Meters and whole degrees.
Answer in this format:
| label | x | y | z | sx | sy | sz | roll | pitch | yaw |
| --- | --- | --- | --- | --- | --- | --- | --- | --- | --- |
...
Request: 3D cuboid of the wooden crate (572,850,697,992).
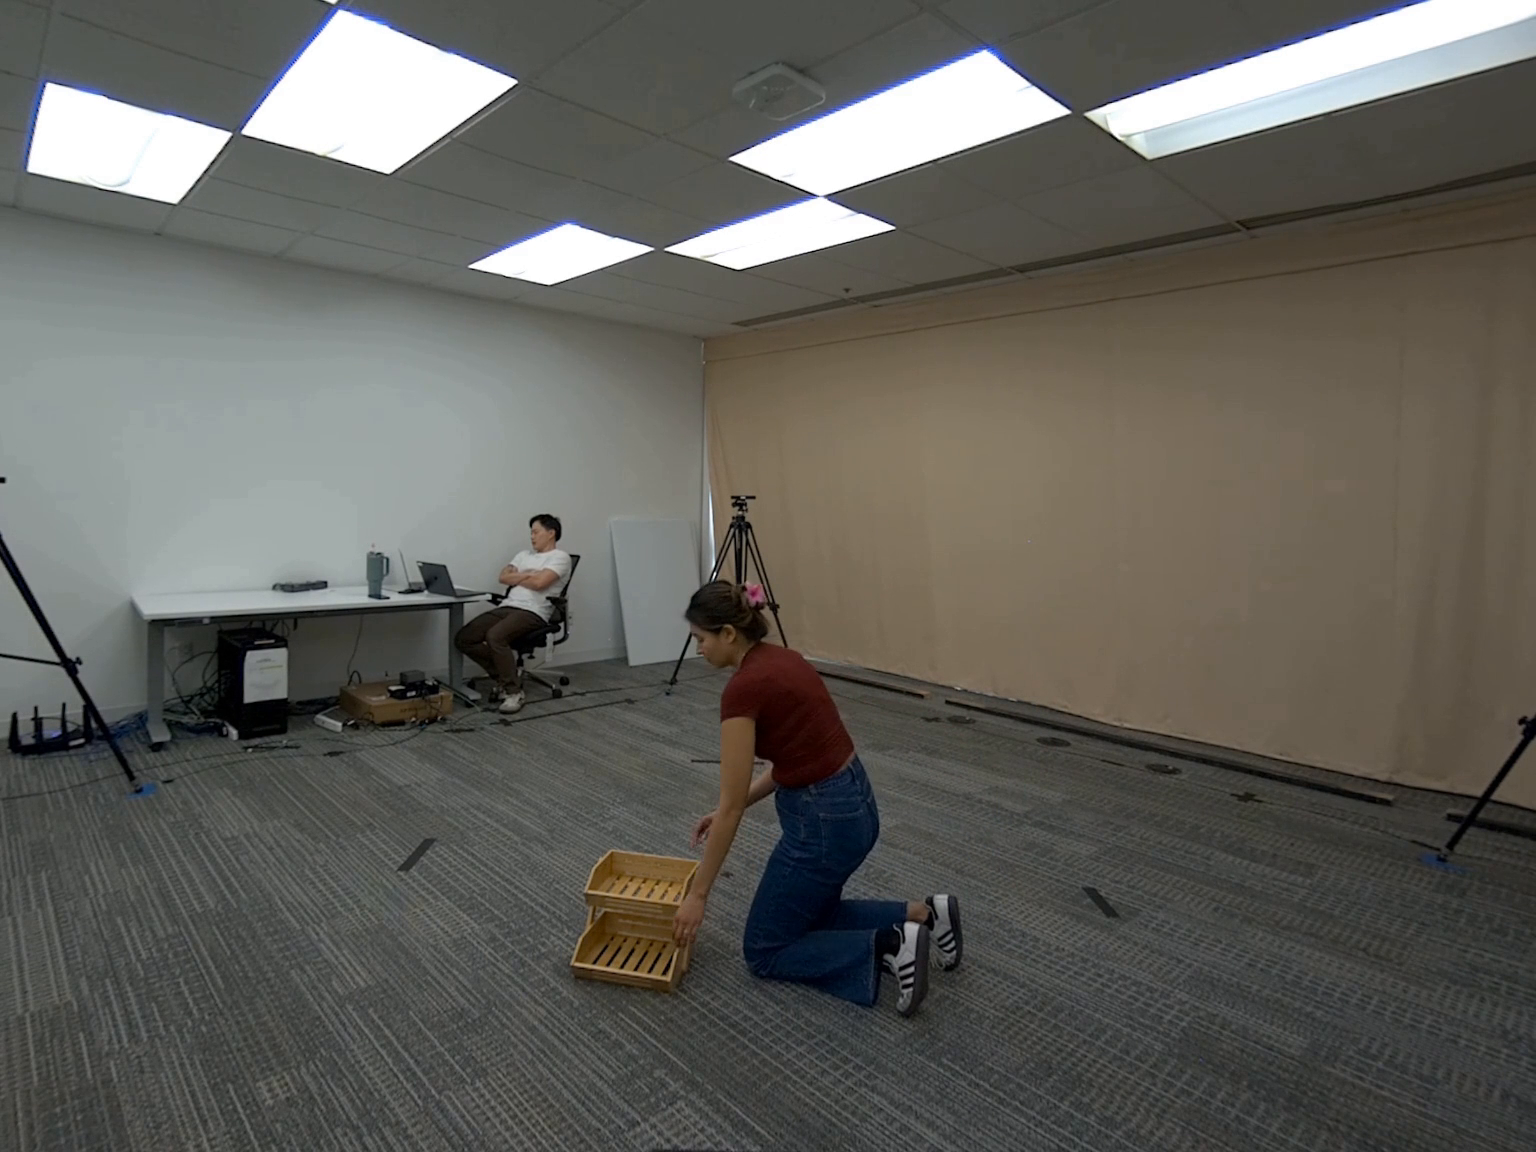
| label | x | y | z | sx | sy | sz | roll | pitch | yaw |
| --- | --- | --- | --- | --- | --- | --- | --- | --- | --- |
| wooden crate | -0.389 | 1.019 | 2.500 | 0.328 | 0.272 | 0.300 | 2 | 5 | 12 |
